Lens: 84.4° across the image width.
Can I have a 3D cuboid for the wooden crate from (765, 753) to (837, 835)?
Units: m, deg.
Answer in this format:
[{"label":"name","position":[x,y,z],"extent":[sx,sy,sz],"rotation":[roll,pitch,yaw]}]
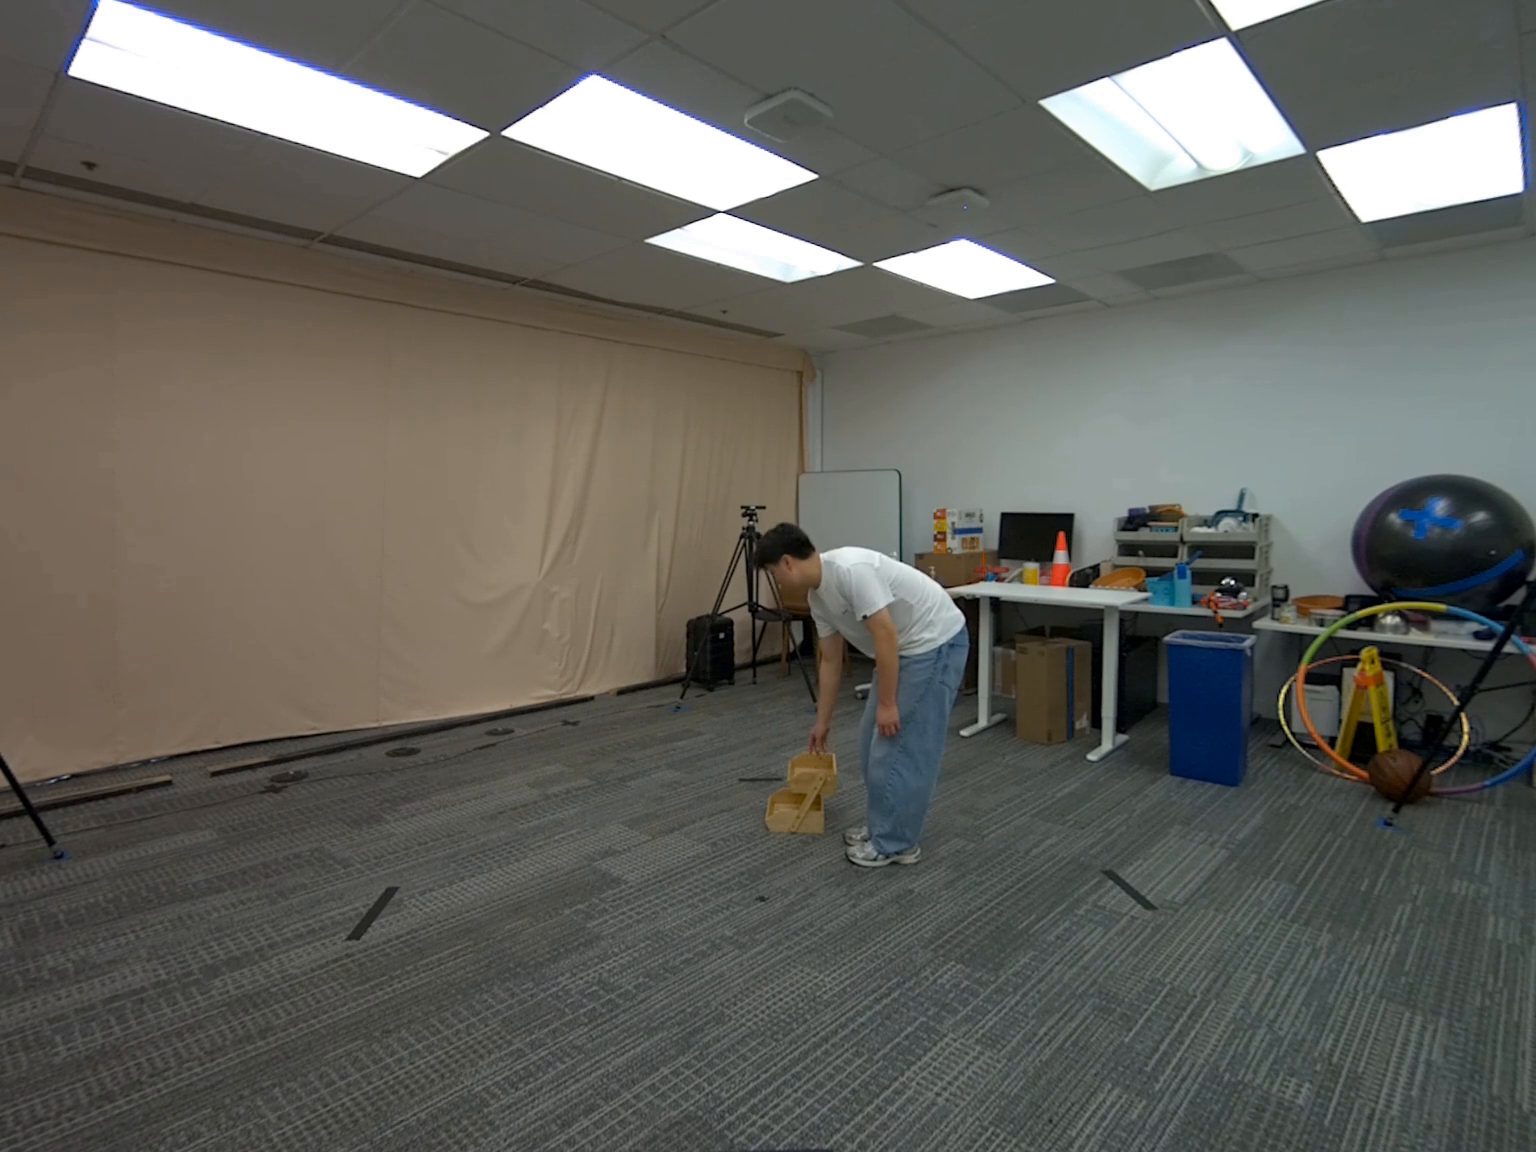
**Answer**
[{"label":"wooden crate","position":[0.142,0.949,3.738],"extent":[0.304,0.273,0.323],"rotation":[1,4,5]}]
